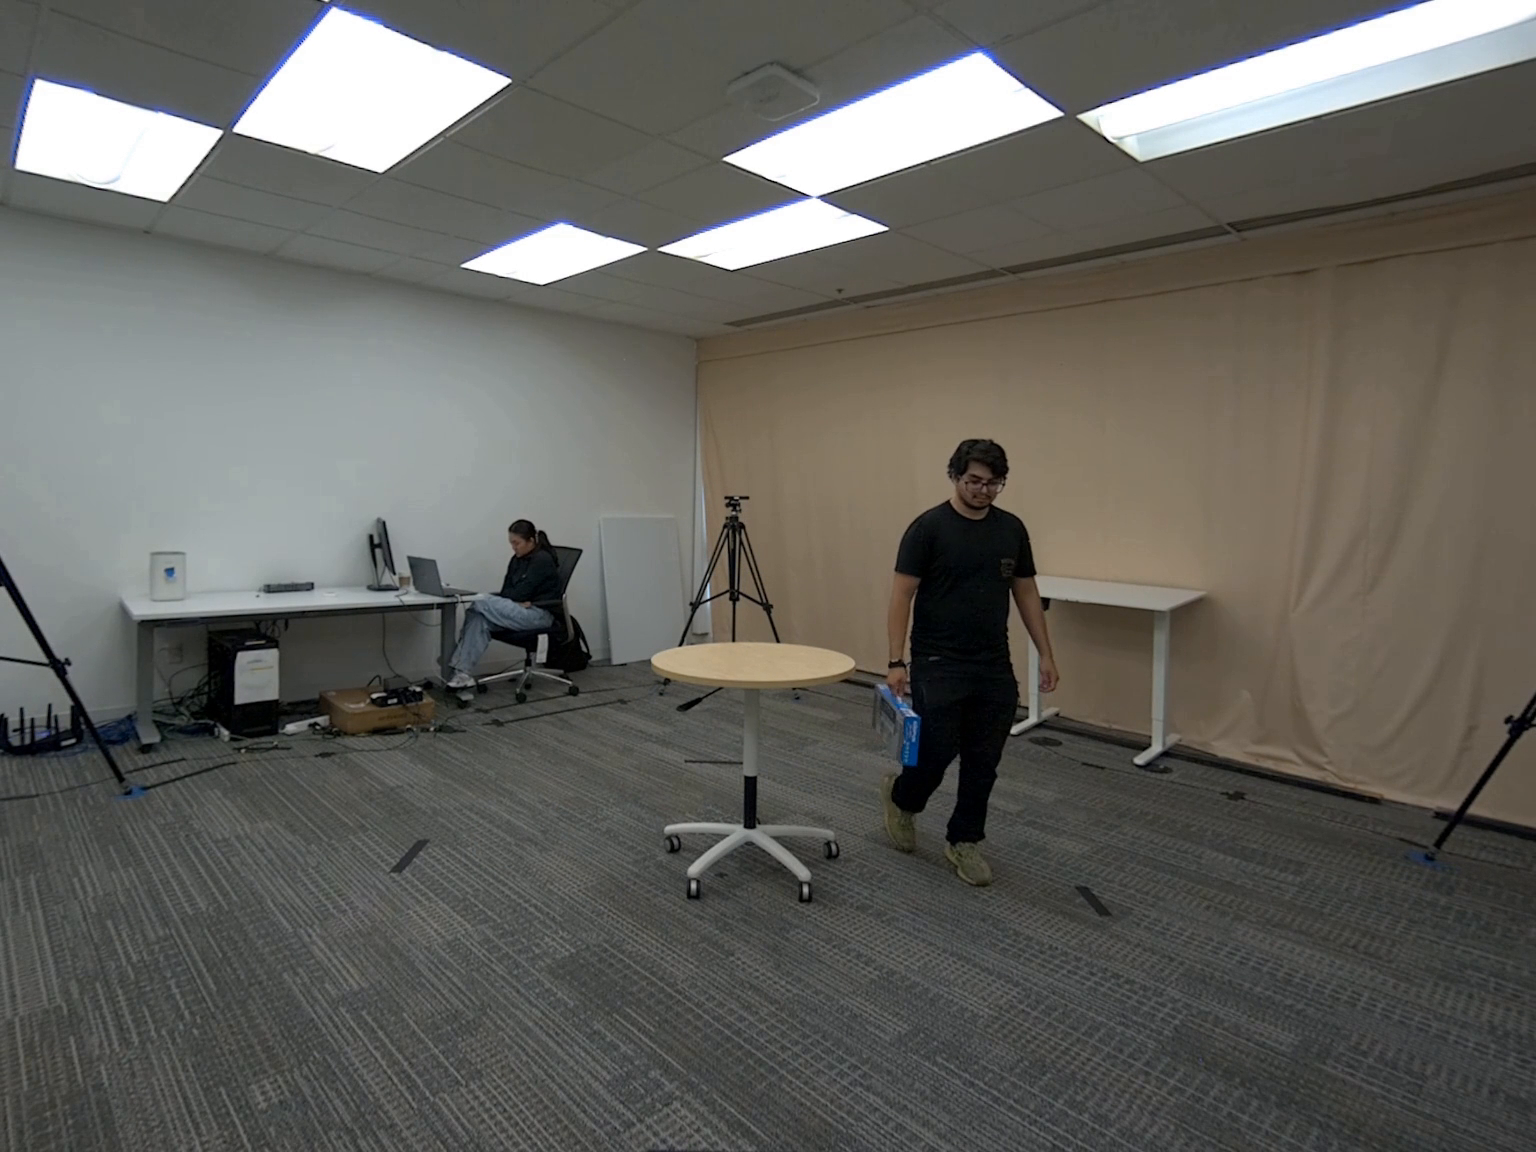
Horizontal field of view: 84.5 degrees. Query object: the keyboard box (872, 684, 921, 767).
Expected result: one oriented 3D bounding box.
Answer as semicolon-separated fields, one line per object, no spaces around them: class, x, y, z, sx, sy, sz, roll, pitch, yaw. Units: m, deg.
keyboard box;0.459;0.533;3.094;0.059;0.175;0.440;3;5;-7
